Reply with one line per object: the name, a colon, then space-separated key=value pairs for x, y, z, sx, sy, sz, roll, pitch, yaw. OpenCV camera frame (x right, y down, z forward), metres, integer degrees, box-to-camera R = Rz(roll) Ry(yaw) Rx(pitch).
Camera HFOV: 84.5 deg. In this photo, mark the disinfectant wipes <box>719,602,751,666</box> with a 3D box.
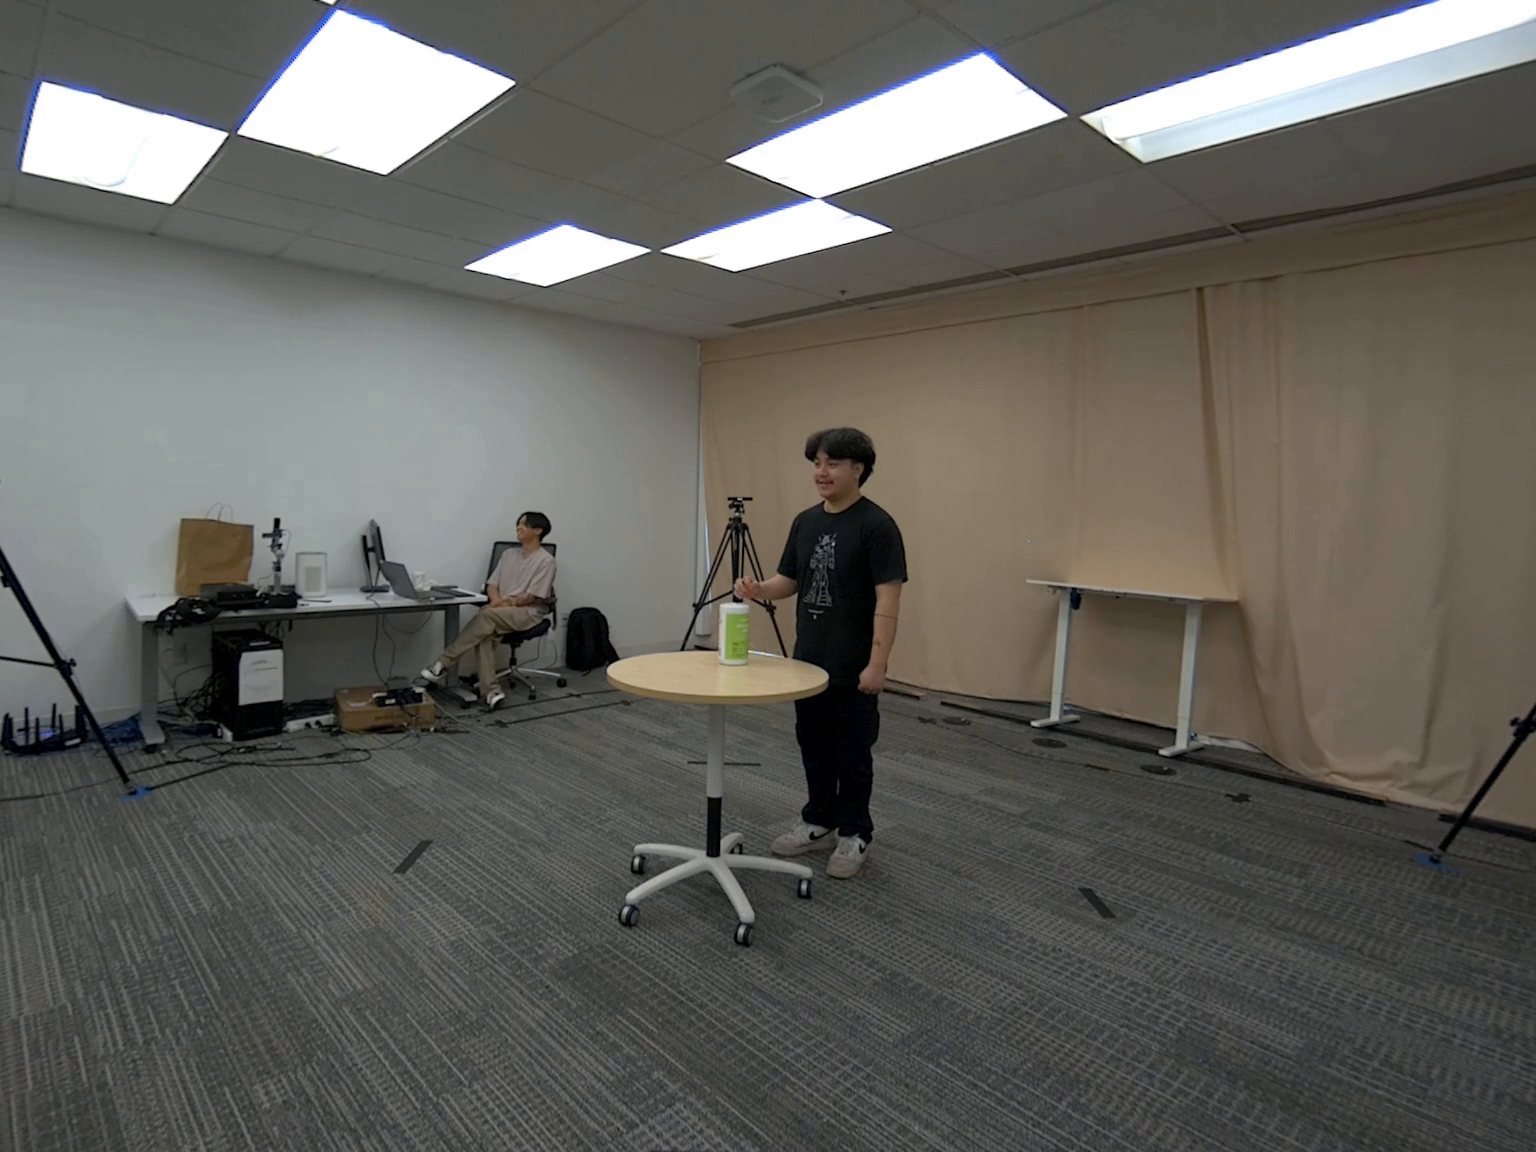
disinfectant wipes: x=-0.141 y=0.214 z=3.064 sx=0.118 sy=0.217 sz=0.118 roll=3 pitch=3 yaw=-2
